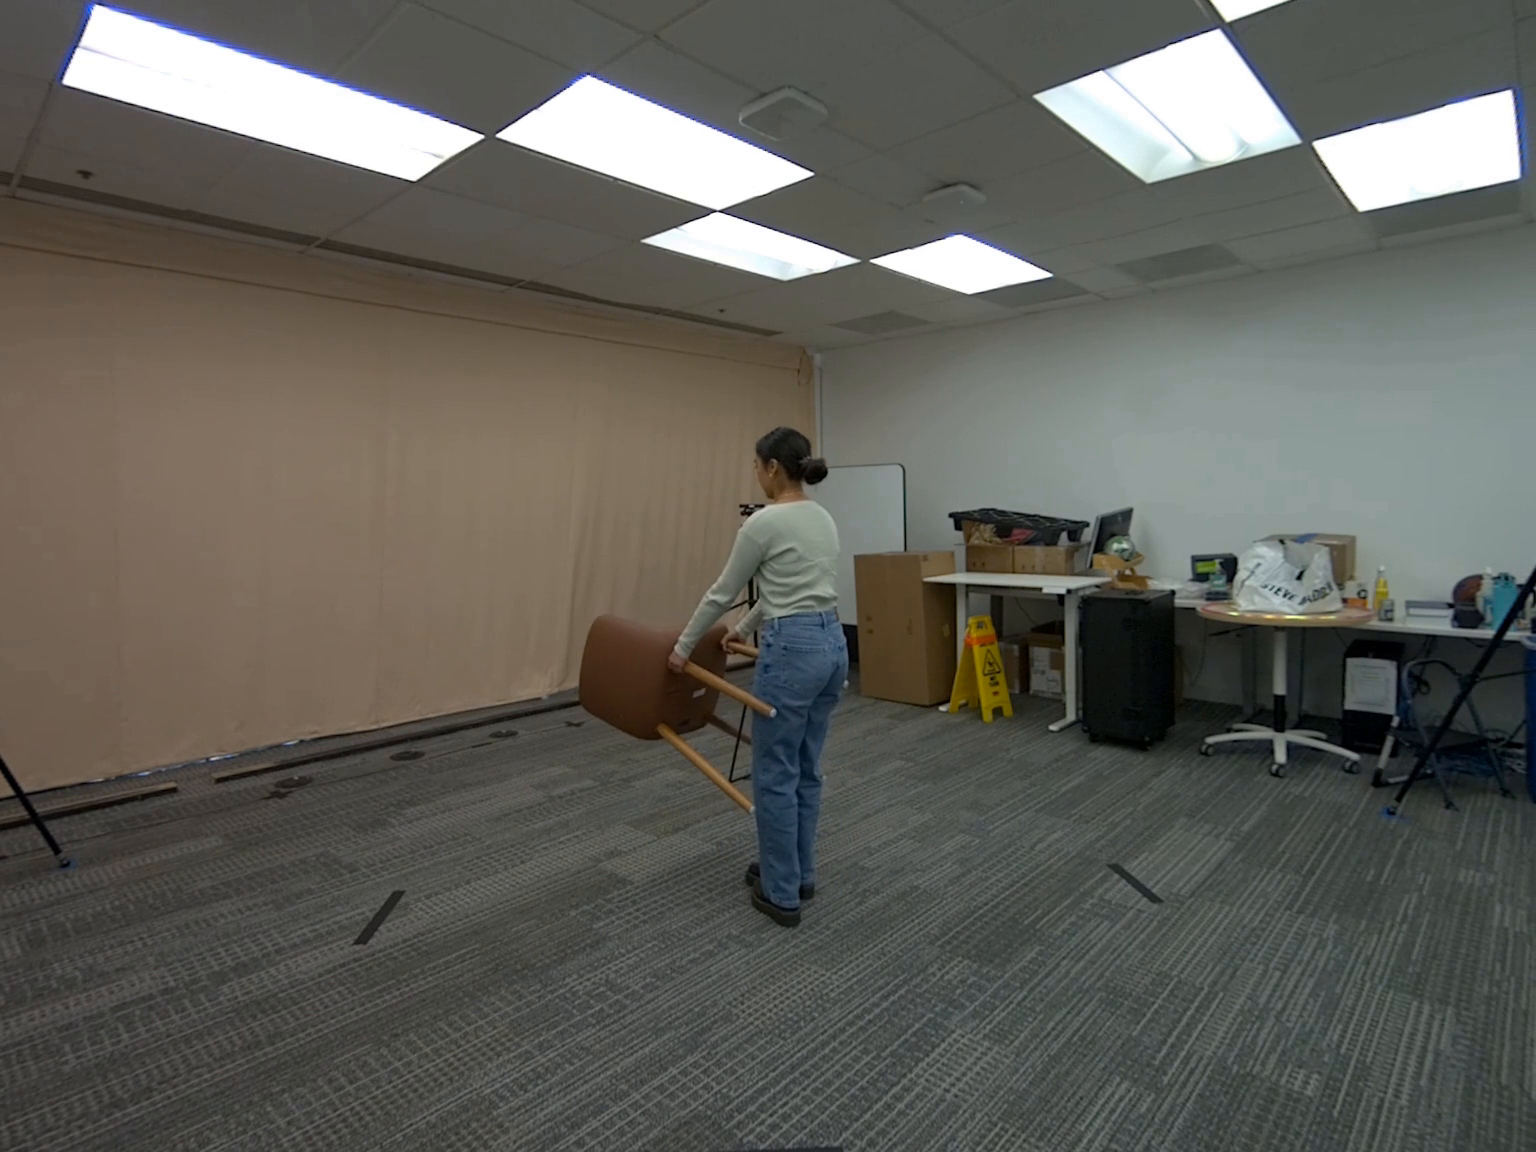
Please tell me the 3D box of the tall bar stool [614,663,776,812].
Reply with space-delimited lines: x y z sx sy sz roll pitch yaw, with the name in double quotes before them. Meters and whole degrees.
"tall bar stool" -0.231 0.448 3.128 0.921 0.454 0.454 20 16 34
